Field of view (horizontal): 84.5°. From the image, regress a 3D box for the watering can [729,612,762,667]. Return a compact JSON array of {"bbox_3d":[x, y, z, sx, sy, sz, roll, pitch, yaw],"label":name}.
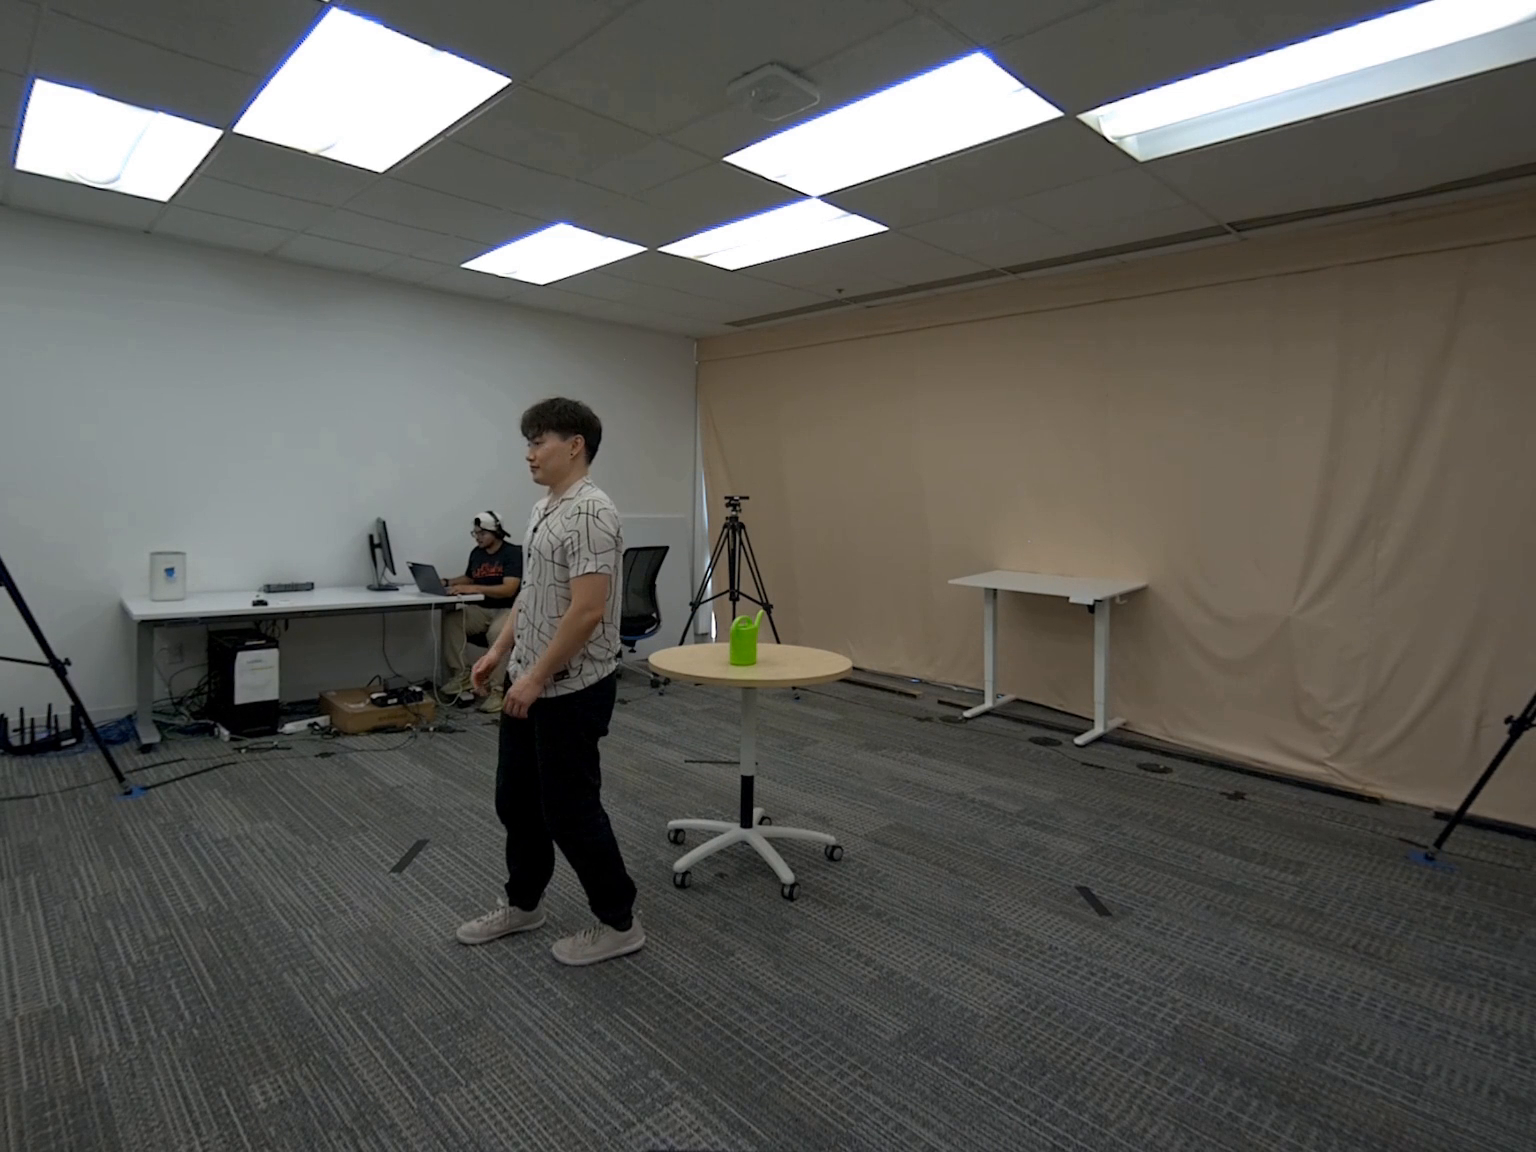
[{"bbox_3d":[-0.073,0.233,3.124,0.100,0.176,0.273,5,7,33],"label":"watering can"}]
